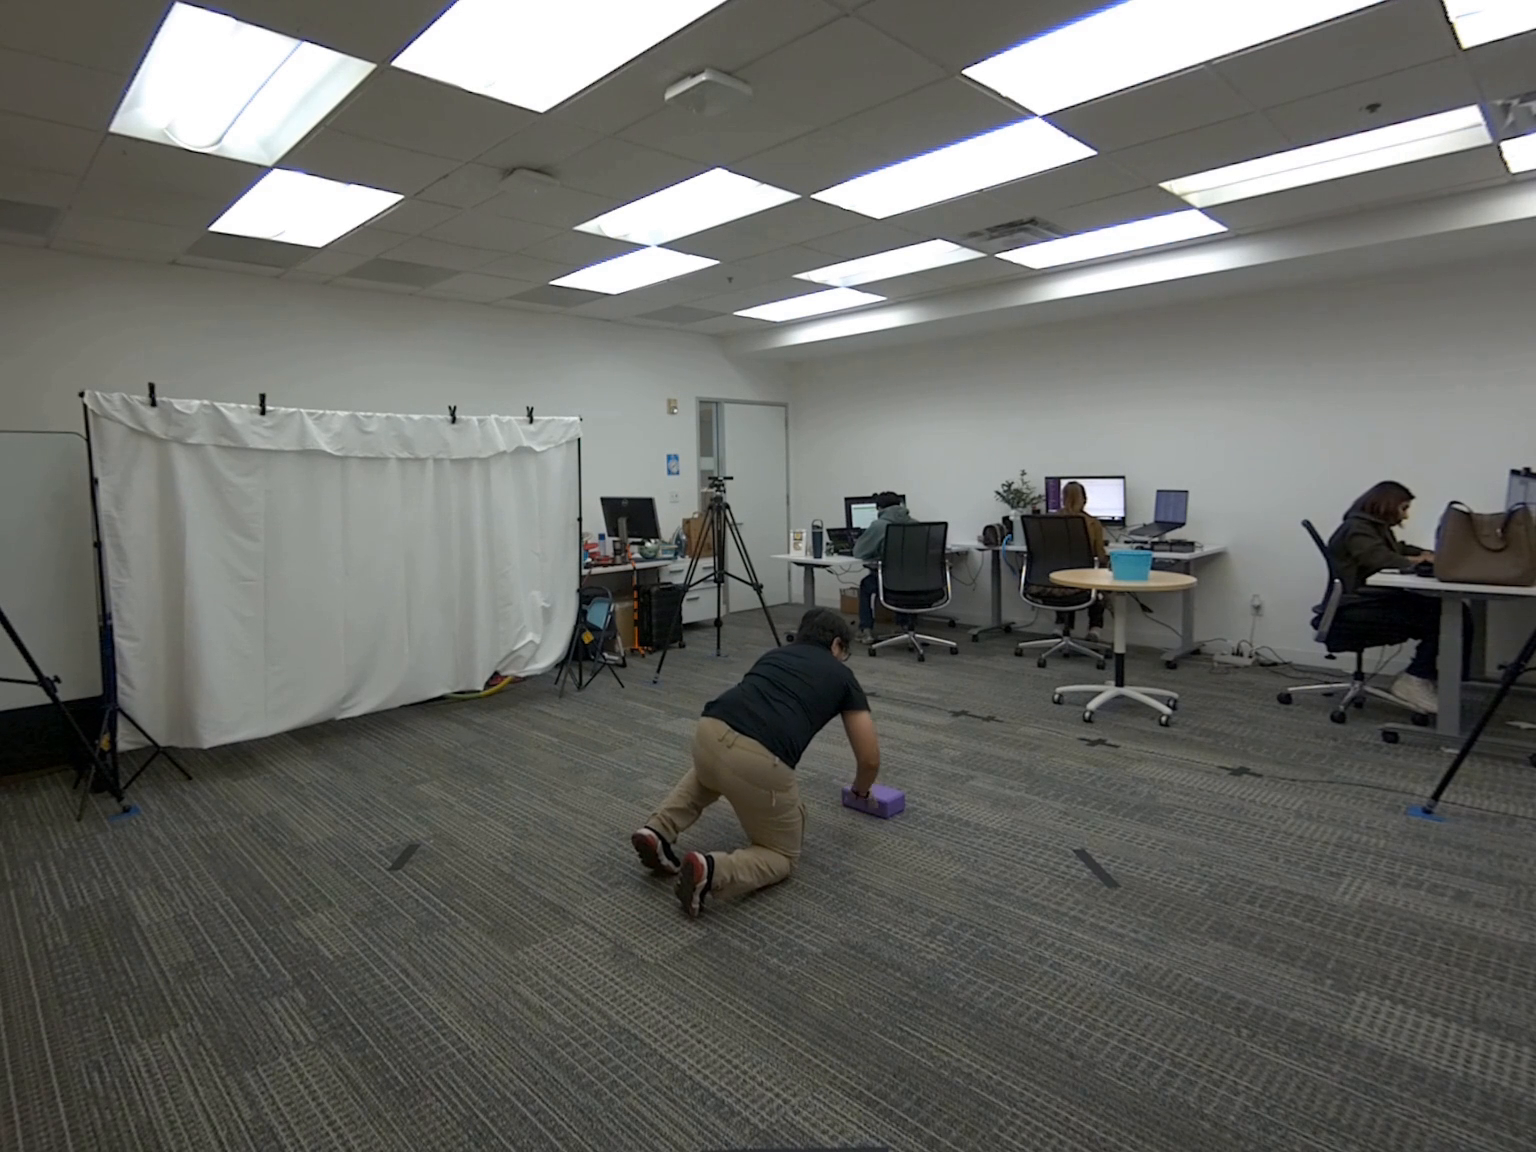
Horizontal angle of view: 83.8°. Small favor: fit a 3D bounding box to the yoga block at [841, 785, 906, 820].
[{"bbox_3d":[0.441,0.930,3.582,0.236,0.076,0.145,5,8,44],"label":"yoga block"}]
